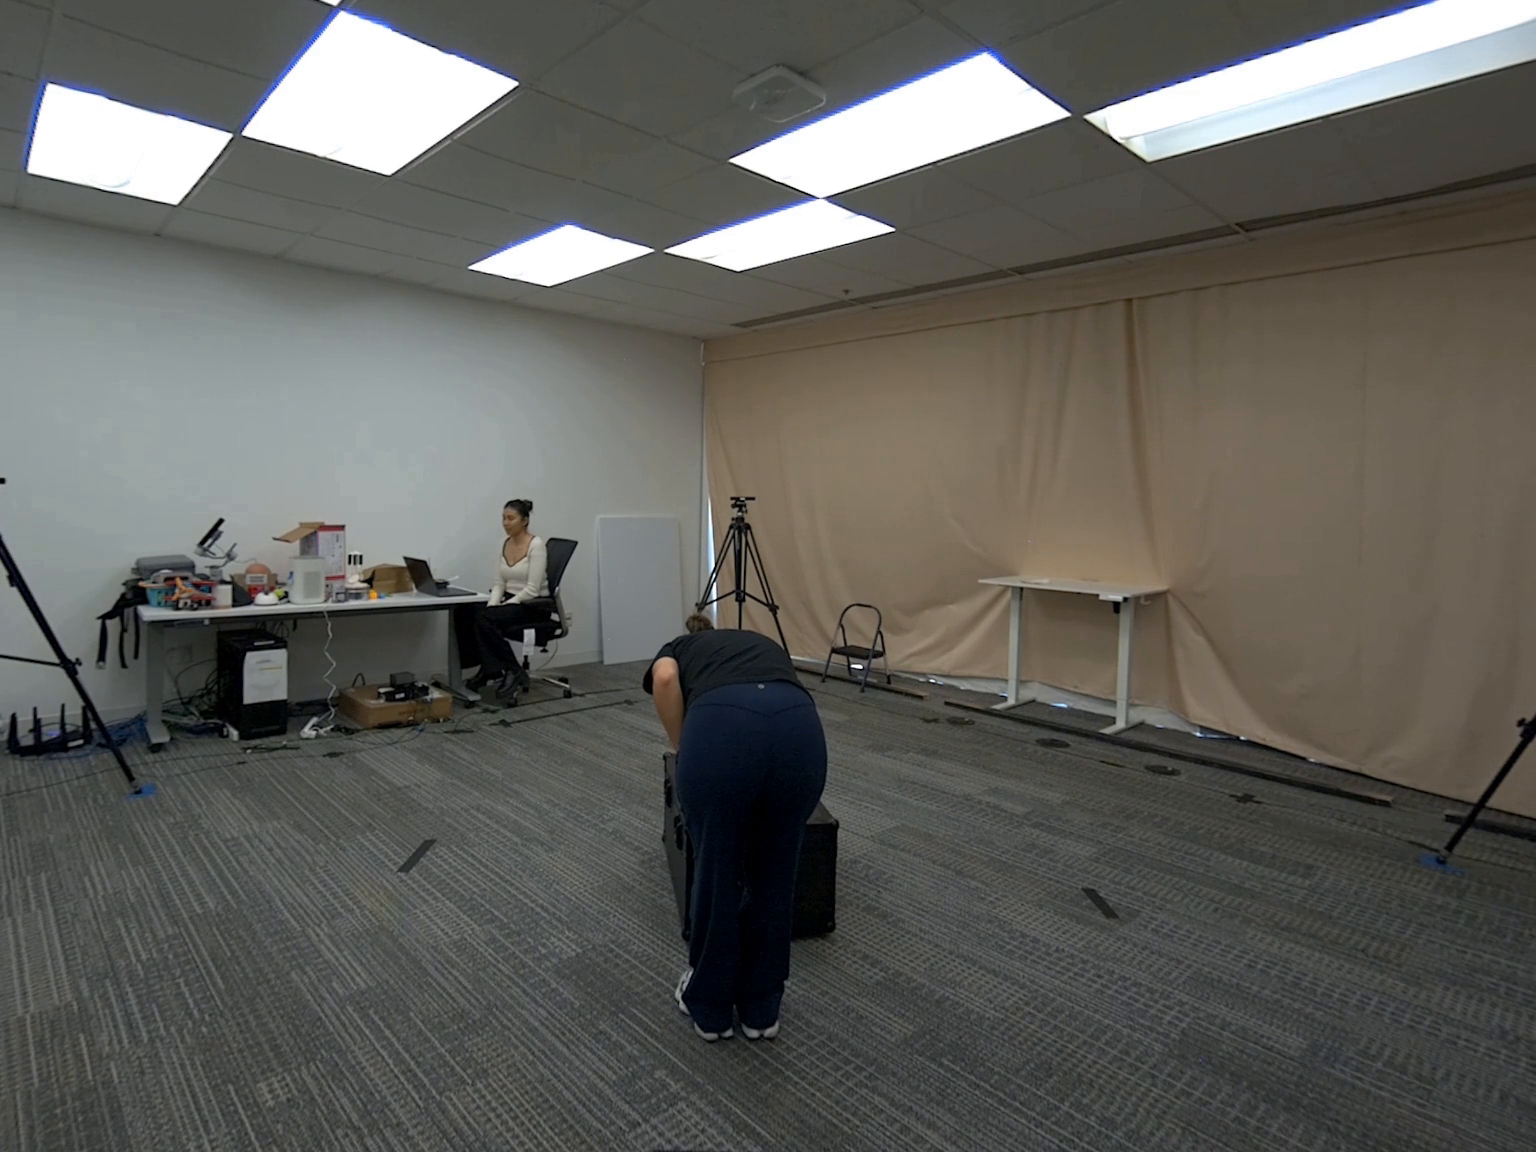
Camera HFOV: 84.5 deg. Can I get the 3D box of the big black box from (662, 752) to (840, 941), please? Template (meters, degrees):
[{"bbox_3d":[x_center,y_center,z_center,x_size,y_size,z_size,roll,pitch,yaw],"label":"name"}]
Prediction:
[{"bbox_3d":[-0.105,0.922,3.018,0.516,0.395,0.872,1,5,-12],"label":"big black box"}]
